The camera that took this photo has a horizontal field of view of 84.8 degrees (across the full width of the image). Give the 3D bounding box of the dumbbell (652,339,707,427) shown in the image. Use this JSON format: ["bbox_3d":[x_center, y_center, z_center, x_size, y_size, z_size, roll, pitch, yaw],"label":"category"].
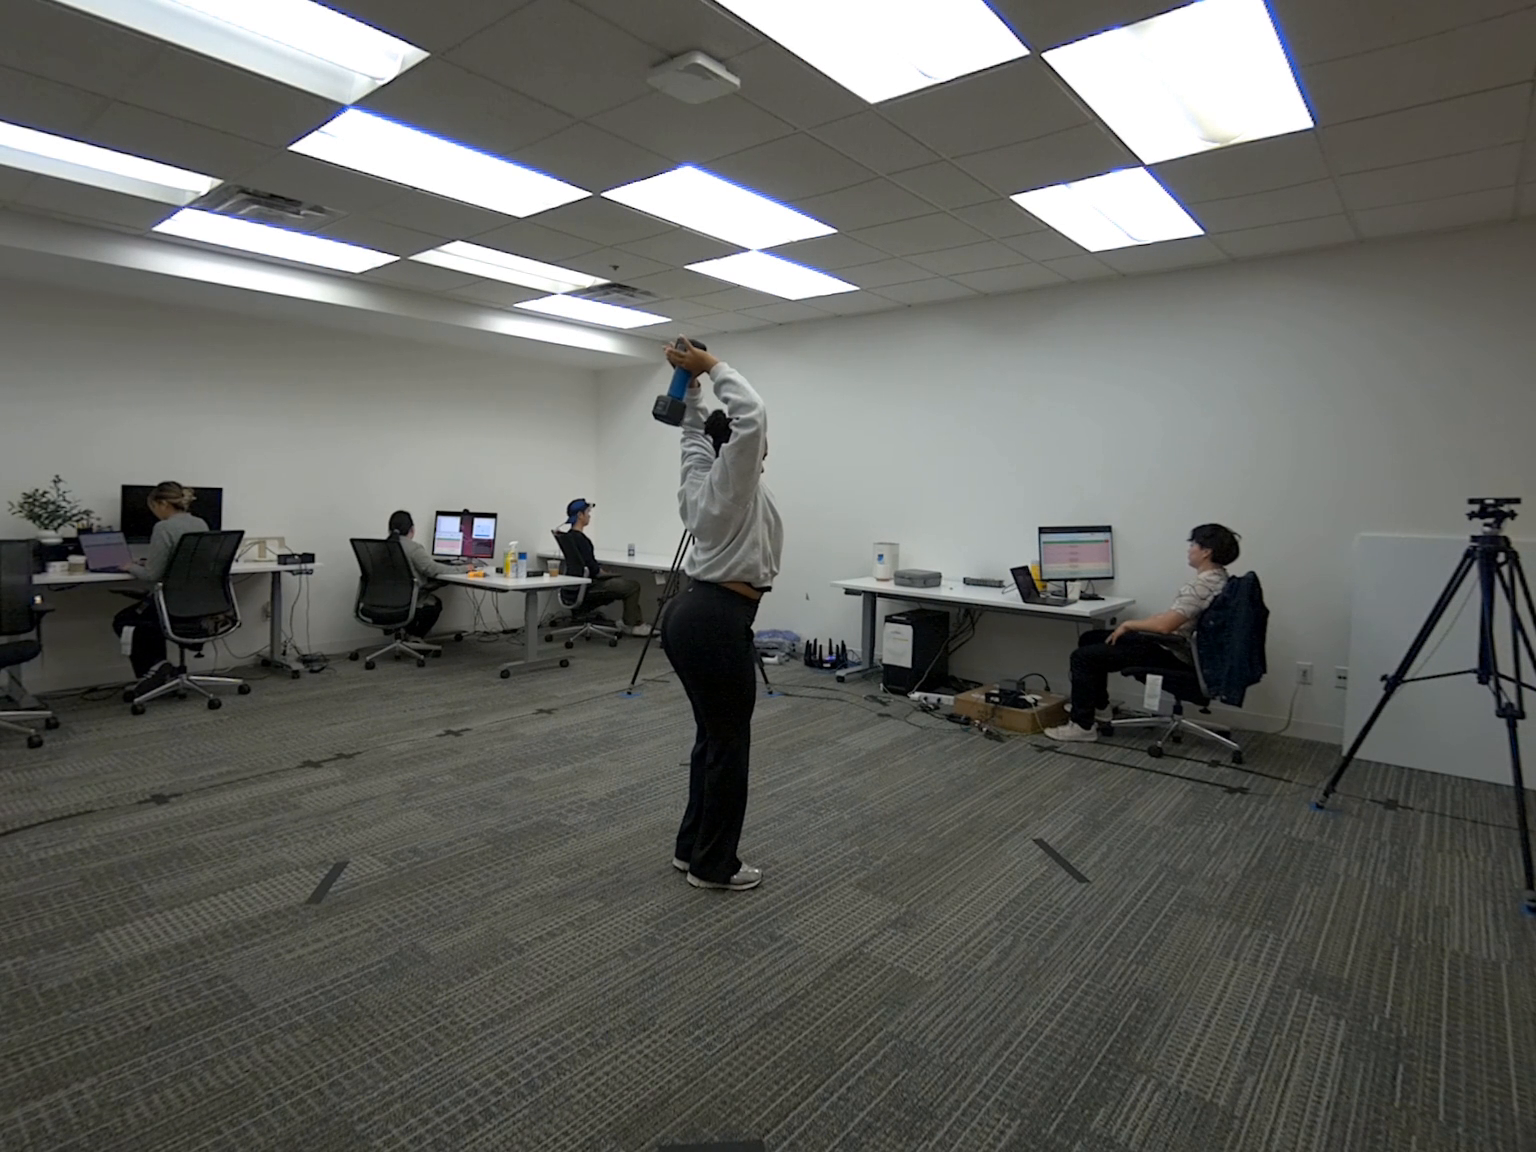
[{"bbox_3d":[-0.321,-0.669,2.932,0.127,0.294,0.105,15,-6,29],"label":"dumbbell"}]
